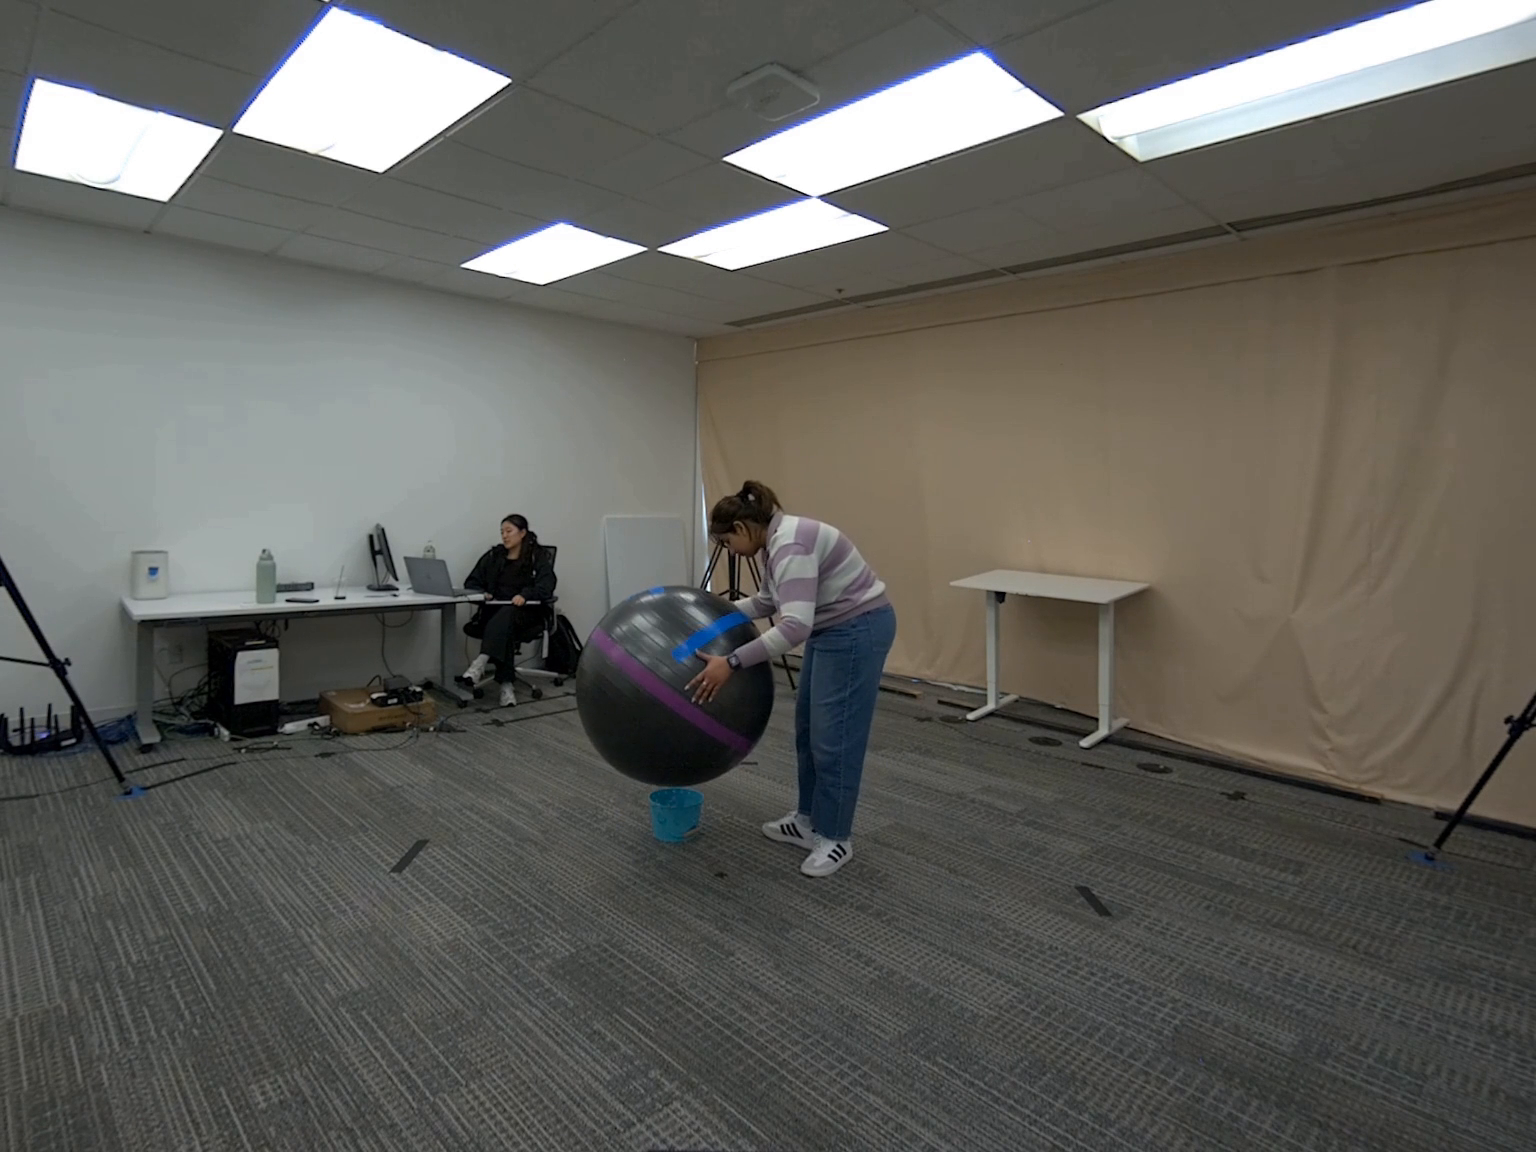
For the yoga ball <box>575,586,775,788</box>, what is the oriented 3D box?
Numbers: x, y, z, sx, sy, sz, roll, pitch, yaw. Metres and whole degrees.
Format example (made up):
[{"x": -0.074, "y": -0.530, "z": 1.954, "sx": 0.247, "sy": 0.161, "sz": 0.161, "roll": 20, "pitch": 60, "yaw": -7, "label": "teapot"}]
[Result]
[{"x": -0.358, "y": 0.428, "z": 3.238, "sx": 0.757, "sy": 0.756, "sz": 0.761, "roll": 1, "pitch": 4, "yaw": -1, "label": "yoga ball"}]
